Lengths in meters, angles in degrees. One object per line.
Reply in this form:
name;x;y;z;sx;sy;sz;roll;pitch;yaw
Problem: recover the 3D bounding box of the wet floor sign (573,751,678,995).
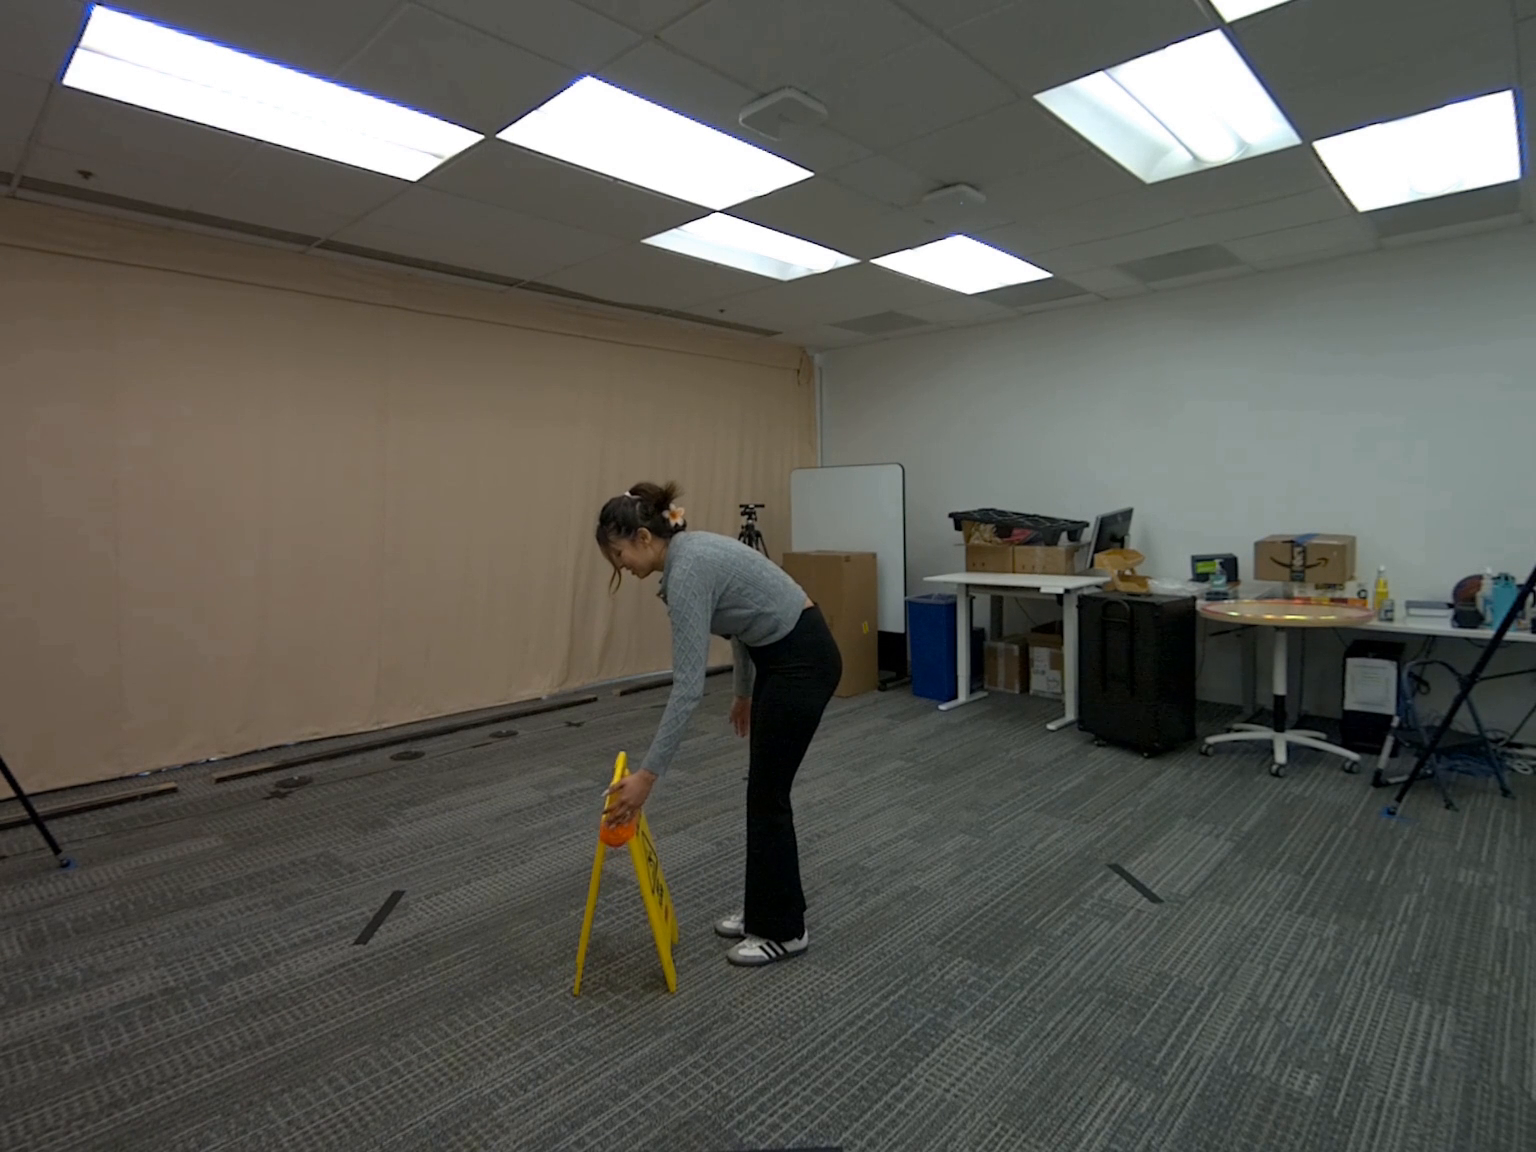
wet floor sign;-0.423;0.856;2.475;0.289;0.641;0.285;-1;12;-2
